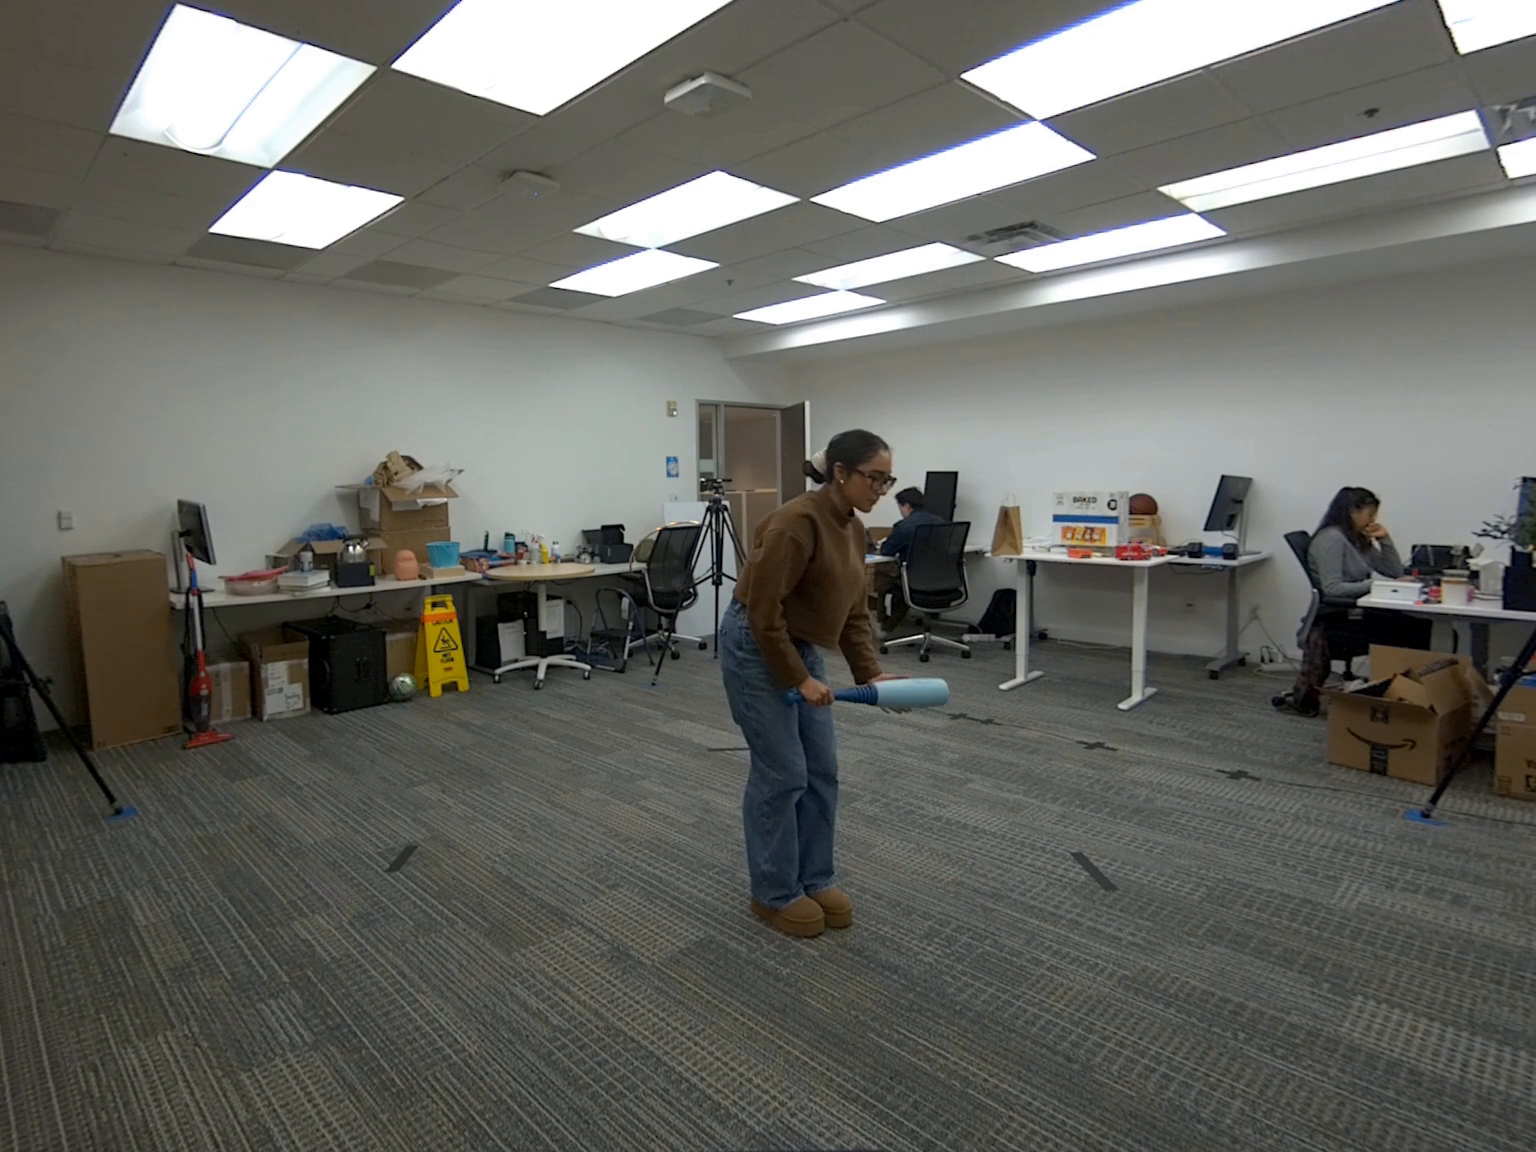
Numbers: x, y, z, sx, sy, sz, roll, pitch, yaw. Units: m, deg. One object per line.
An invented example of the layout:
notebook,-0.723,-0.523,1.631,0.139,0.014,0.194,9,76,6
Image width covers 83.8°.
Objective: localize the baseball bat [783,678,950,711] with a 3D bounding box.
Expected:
baseball bat,0.298,0.369,2.608,0.534,0.089,0.091,0,4,-16
